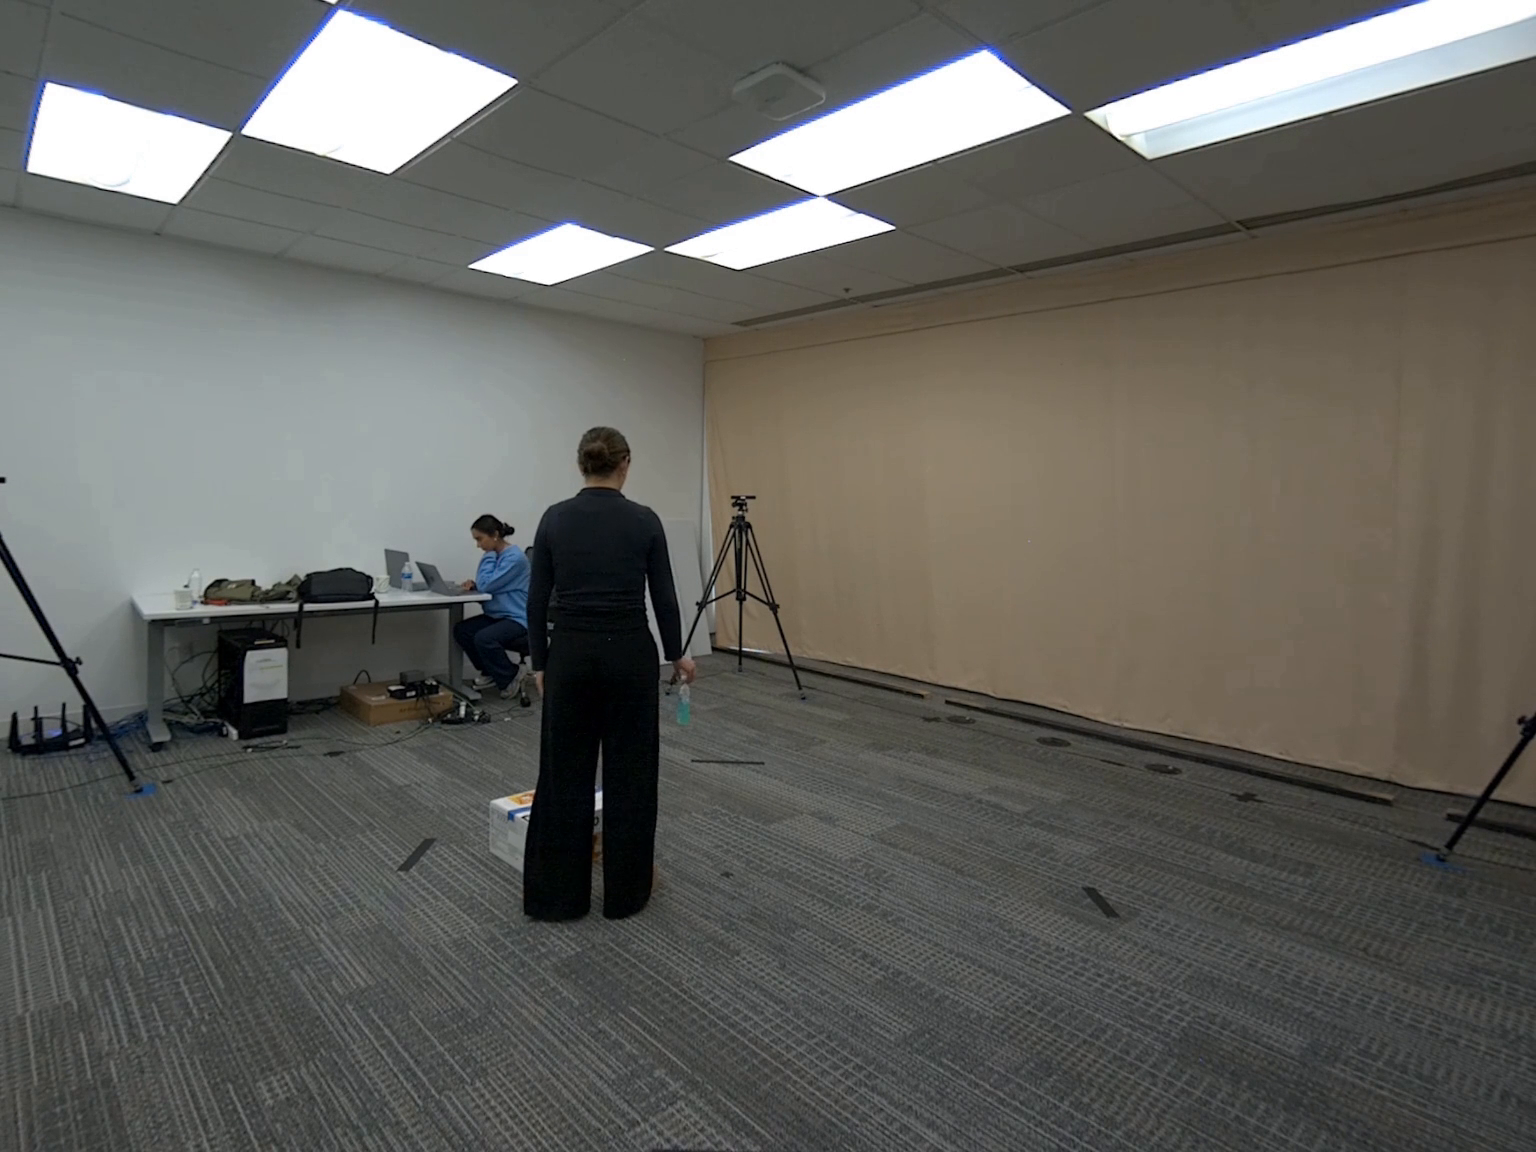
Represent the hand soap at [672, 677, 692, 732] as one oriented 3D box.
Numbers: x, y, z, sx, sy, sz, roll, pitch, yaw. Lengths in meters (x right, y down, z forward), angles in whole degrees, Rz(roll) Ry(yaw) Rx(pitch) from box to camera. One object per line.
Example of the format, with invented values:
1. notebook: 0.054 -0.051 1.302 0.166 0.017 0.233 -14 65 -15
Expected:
1. hand soap: -0.306 0.452 2.994 0.043 0.167 0.086 1 8 -18
